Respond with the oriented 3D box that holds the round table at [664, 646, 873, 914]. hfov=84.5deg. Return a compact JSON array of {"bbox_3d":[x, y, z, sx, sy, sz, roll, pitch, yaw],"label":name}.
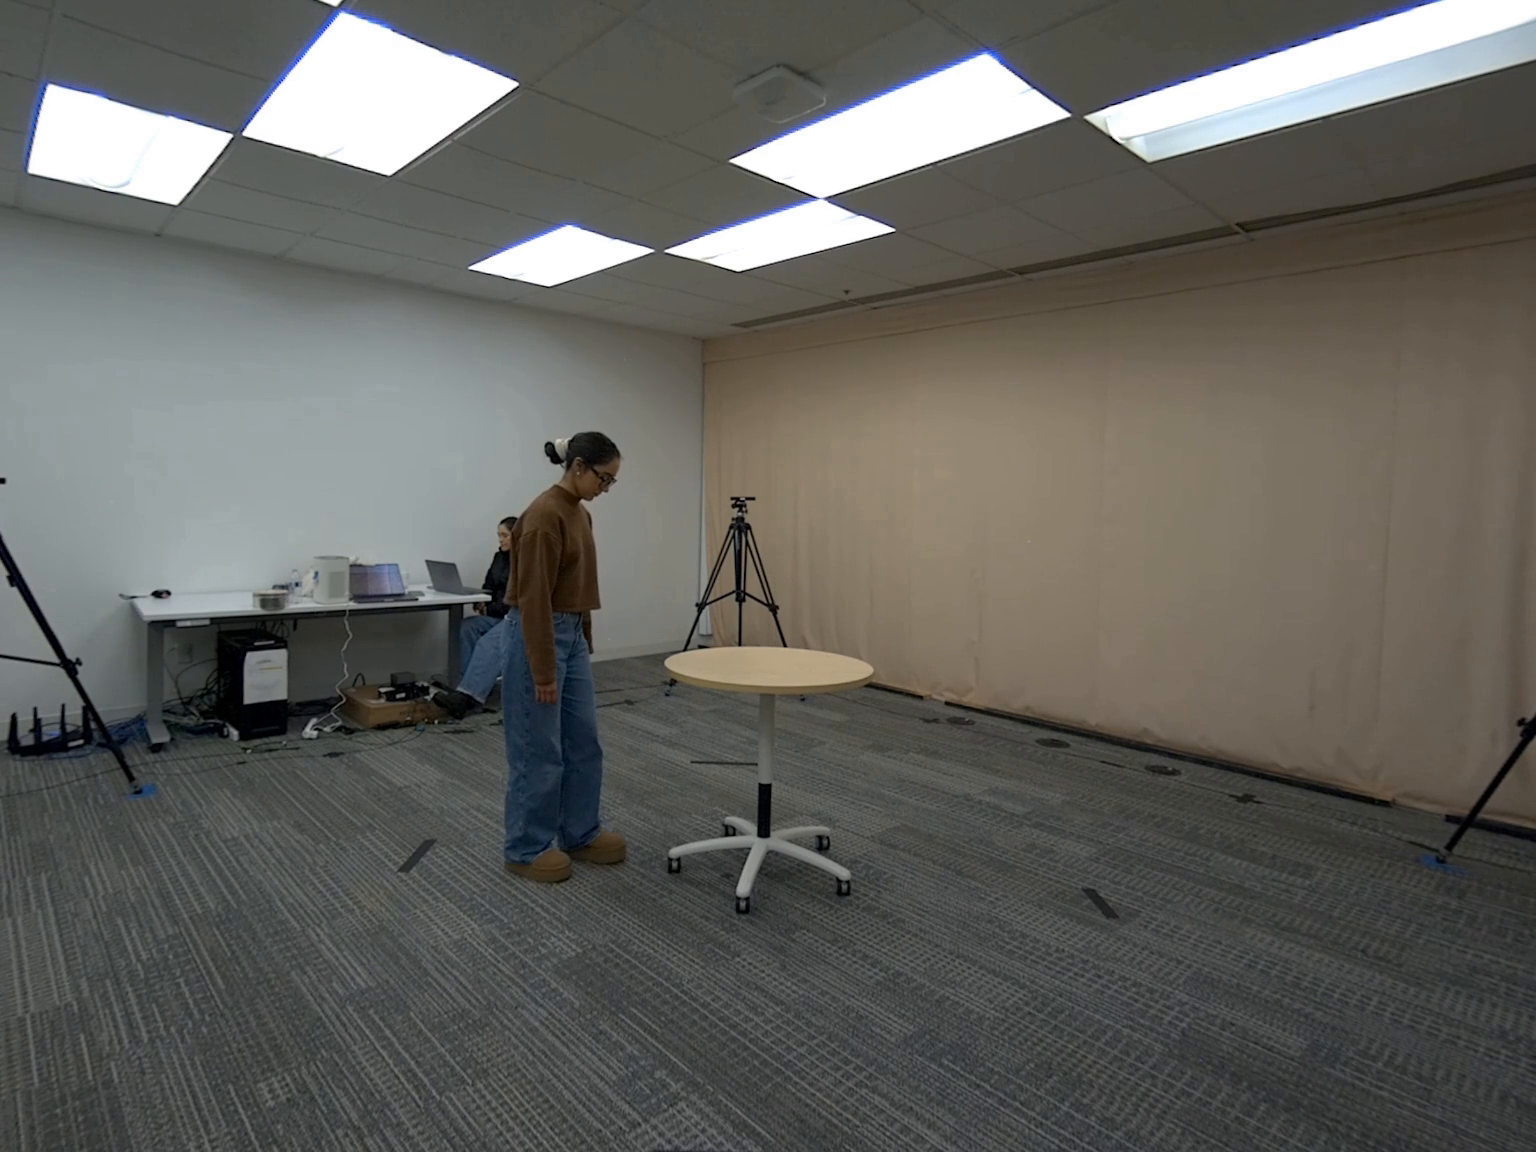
[{"bbox_3d":[-0.021,0.718,3.126,0.763,0.792,0.766,1,4,-1],"label":"round table"}]
